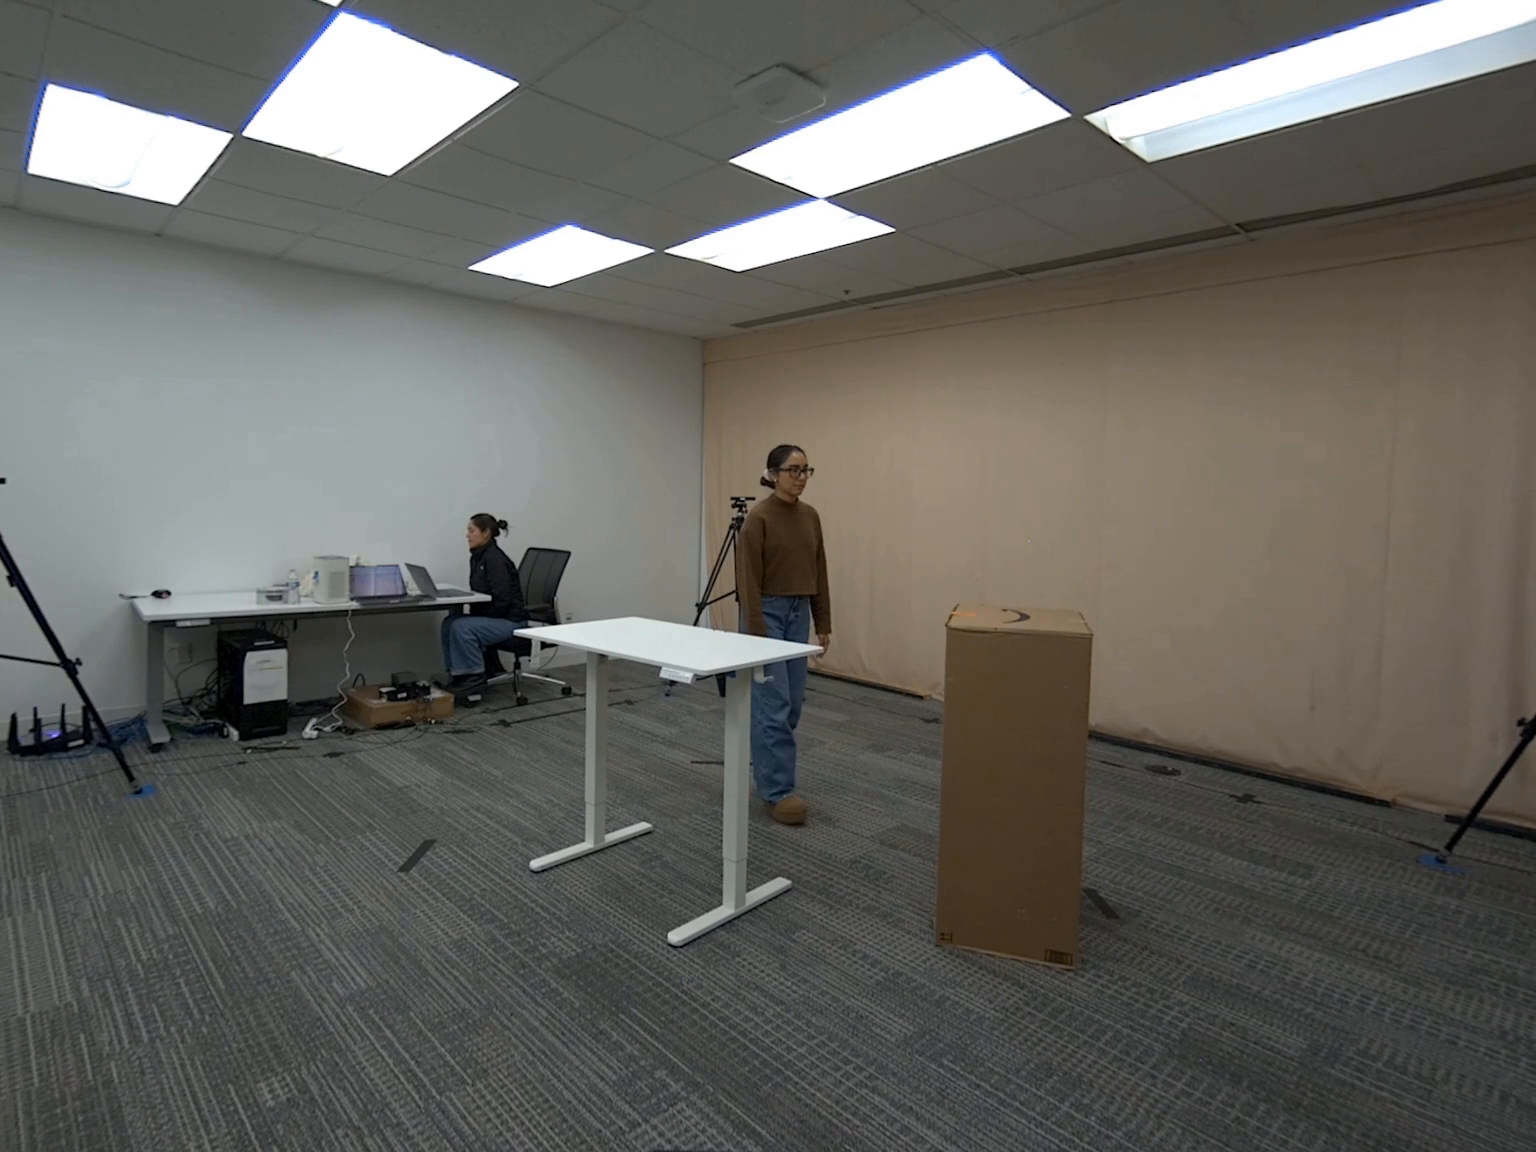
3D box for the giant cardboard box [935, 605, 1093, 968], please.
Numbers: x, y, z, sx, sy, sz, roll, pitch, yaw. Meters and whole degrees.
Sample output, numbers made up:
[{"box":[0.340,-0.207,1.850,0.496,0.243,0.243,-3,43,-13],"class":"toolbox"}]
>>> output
[{"box":[0.813,0.646,2.831,0.432,1.023,0.571,3,4,17],"class":"giant cardboard box"}]
